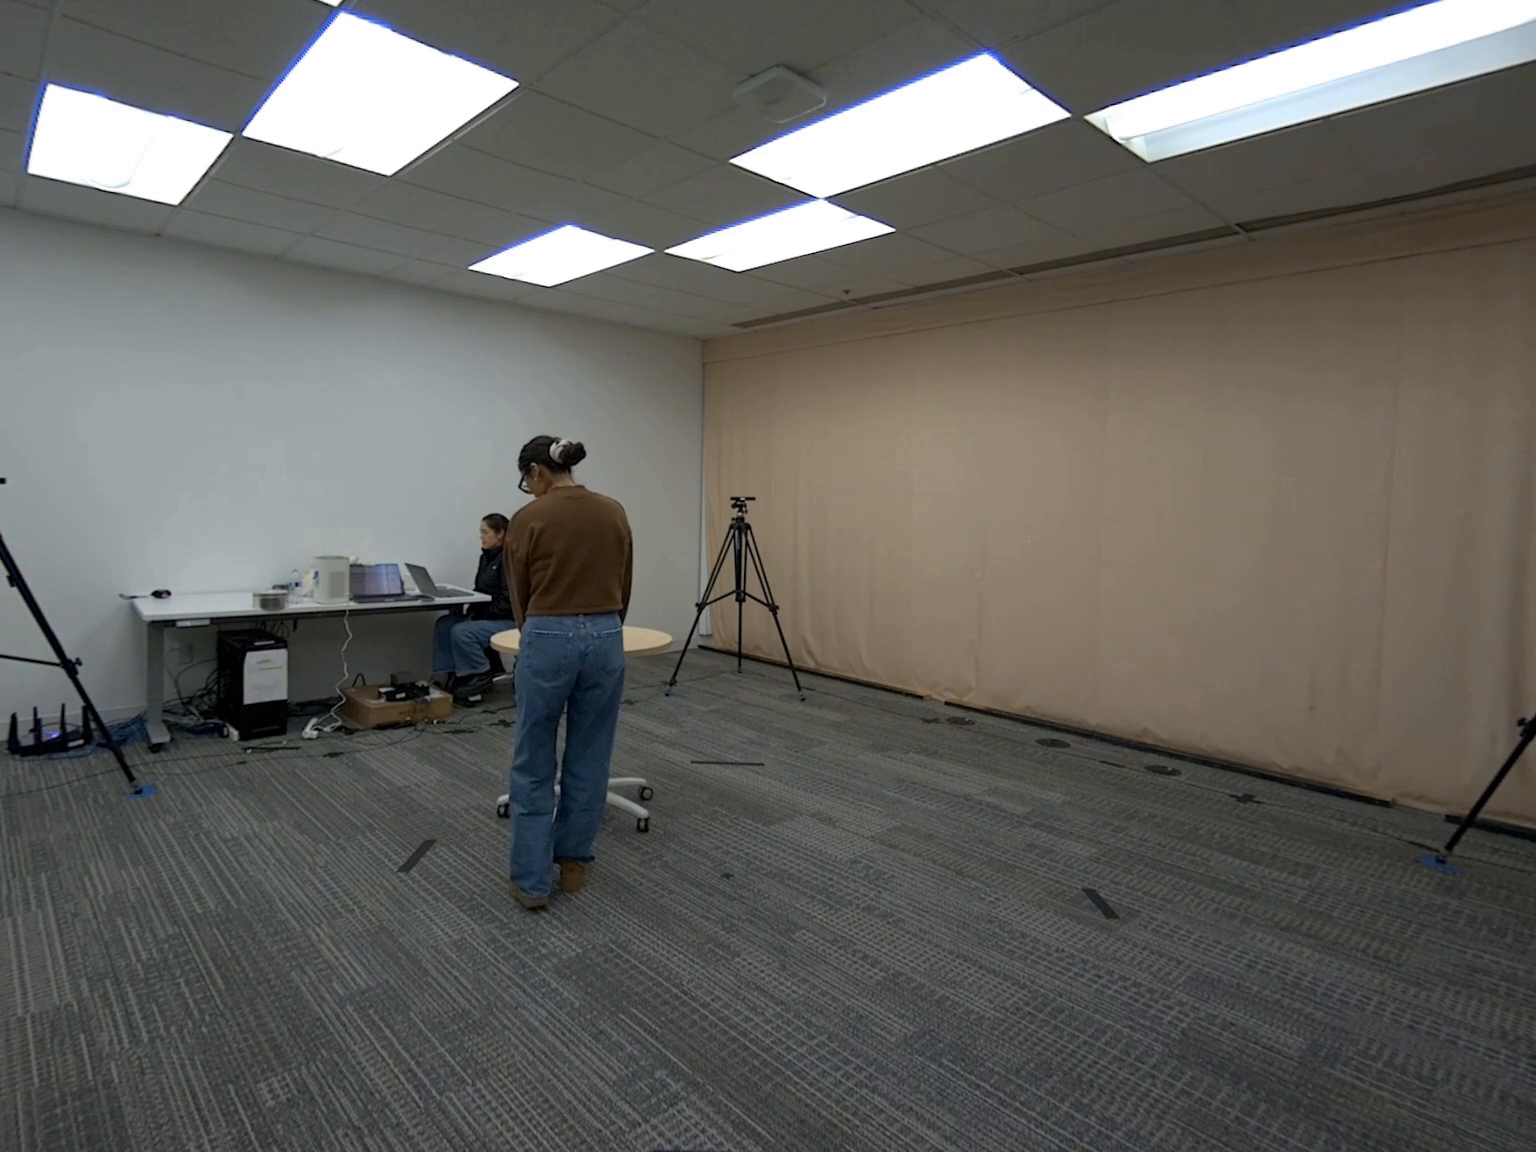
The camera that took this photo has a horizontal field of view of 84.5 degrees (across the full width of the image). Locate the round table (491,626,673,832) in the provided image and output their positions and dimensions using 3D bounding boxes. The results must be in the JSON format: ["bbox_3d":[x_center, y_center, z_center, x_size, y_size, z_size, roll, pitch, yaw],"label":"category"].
[{"bbox_3d":[-0.806,0.659,3.633,0.763,0.792,0.766,1,4,-1],"label":"round table"}]
